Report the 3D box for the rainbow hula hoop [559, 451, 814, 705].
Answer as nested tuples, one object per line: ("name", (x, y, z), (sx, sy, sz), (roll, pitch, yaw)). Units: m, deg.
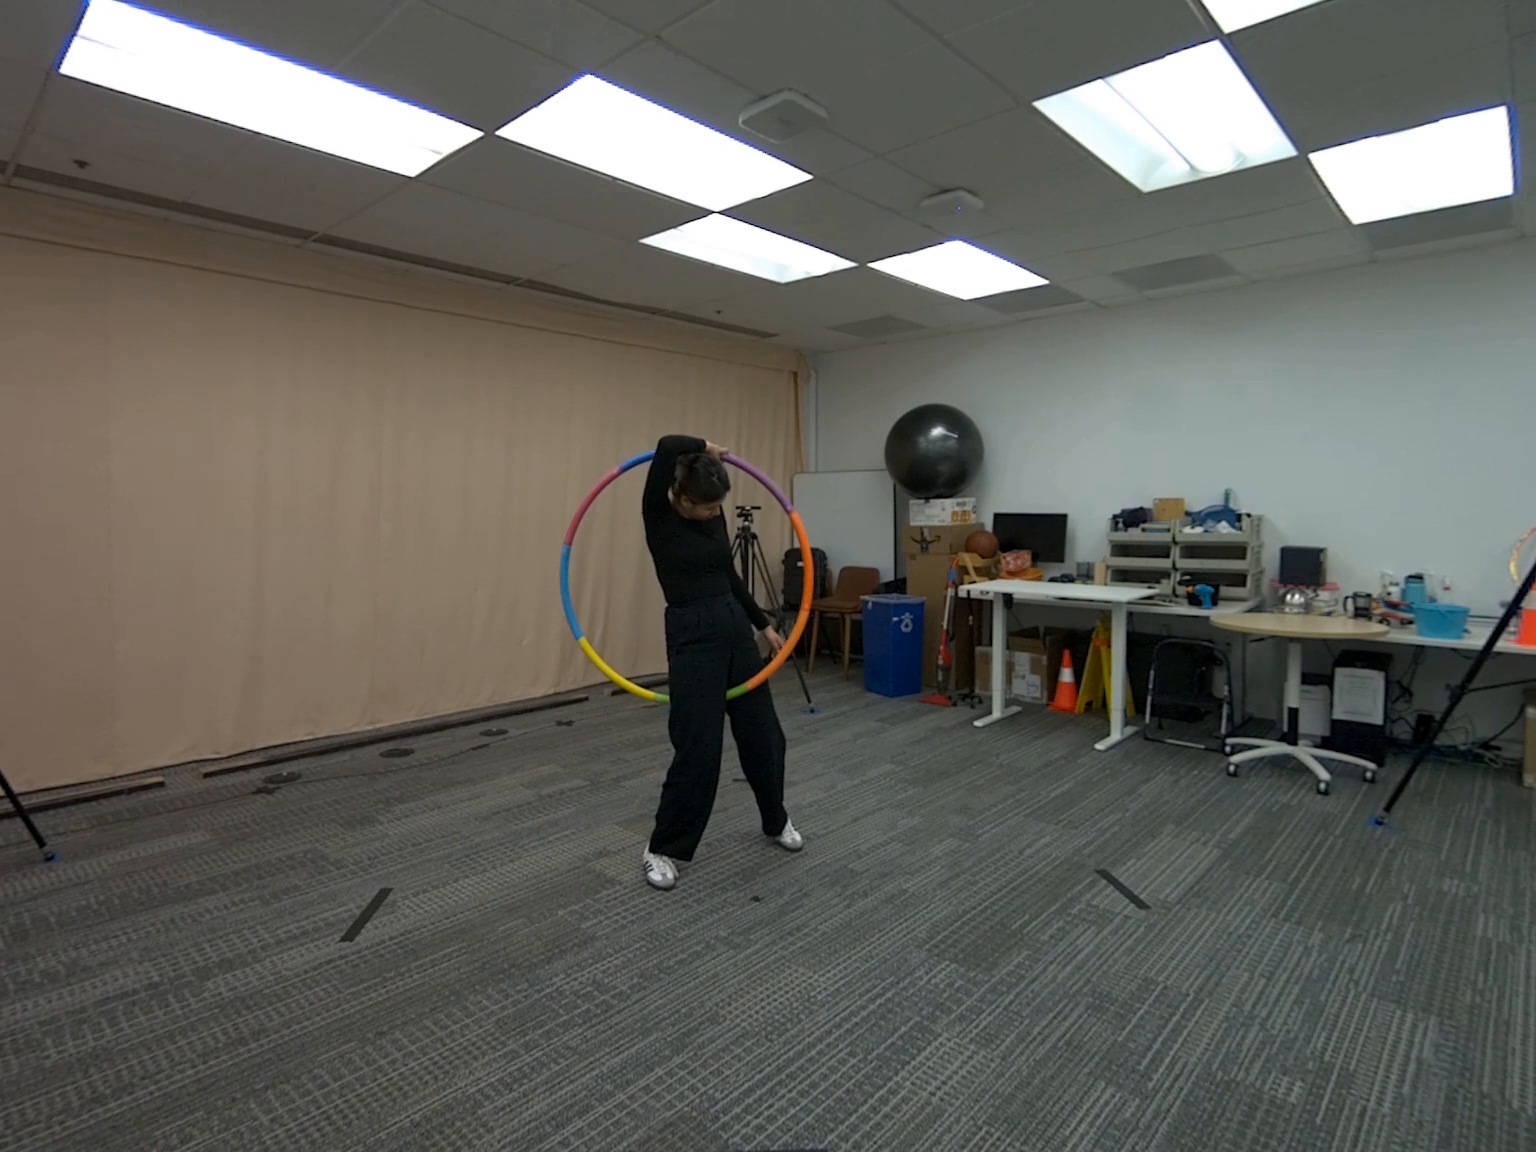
("rainbow hula hoop", (-0.302, 0.005, 3.203), (0.988, 0.976, 0.035), (1, 3, 9))
